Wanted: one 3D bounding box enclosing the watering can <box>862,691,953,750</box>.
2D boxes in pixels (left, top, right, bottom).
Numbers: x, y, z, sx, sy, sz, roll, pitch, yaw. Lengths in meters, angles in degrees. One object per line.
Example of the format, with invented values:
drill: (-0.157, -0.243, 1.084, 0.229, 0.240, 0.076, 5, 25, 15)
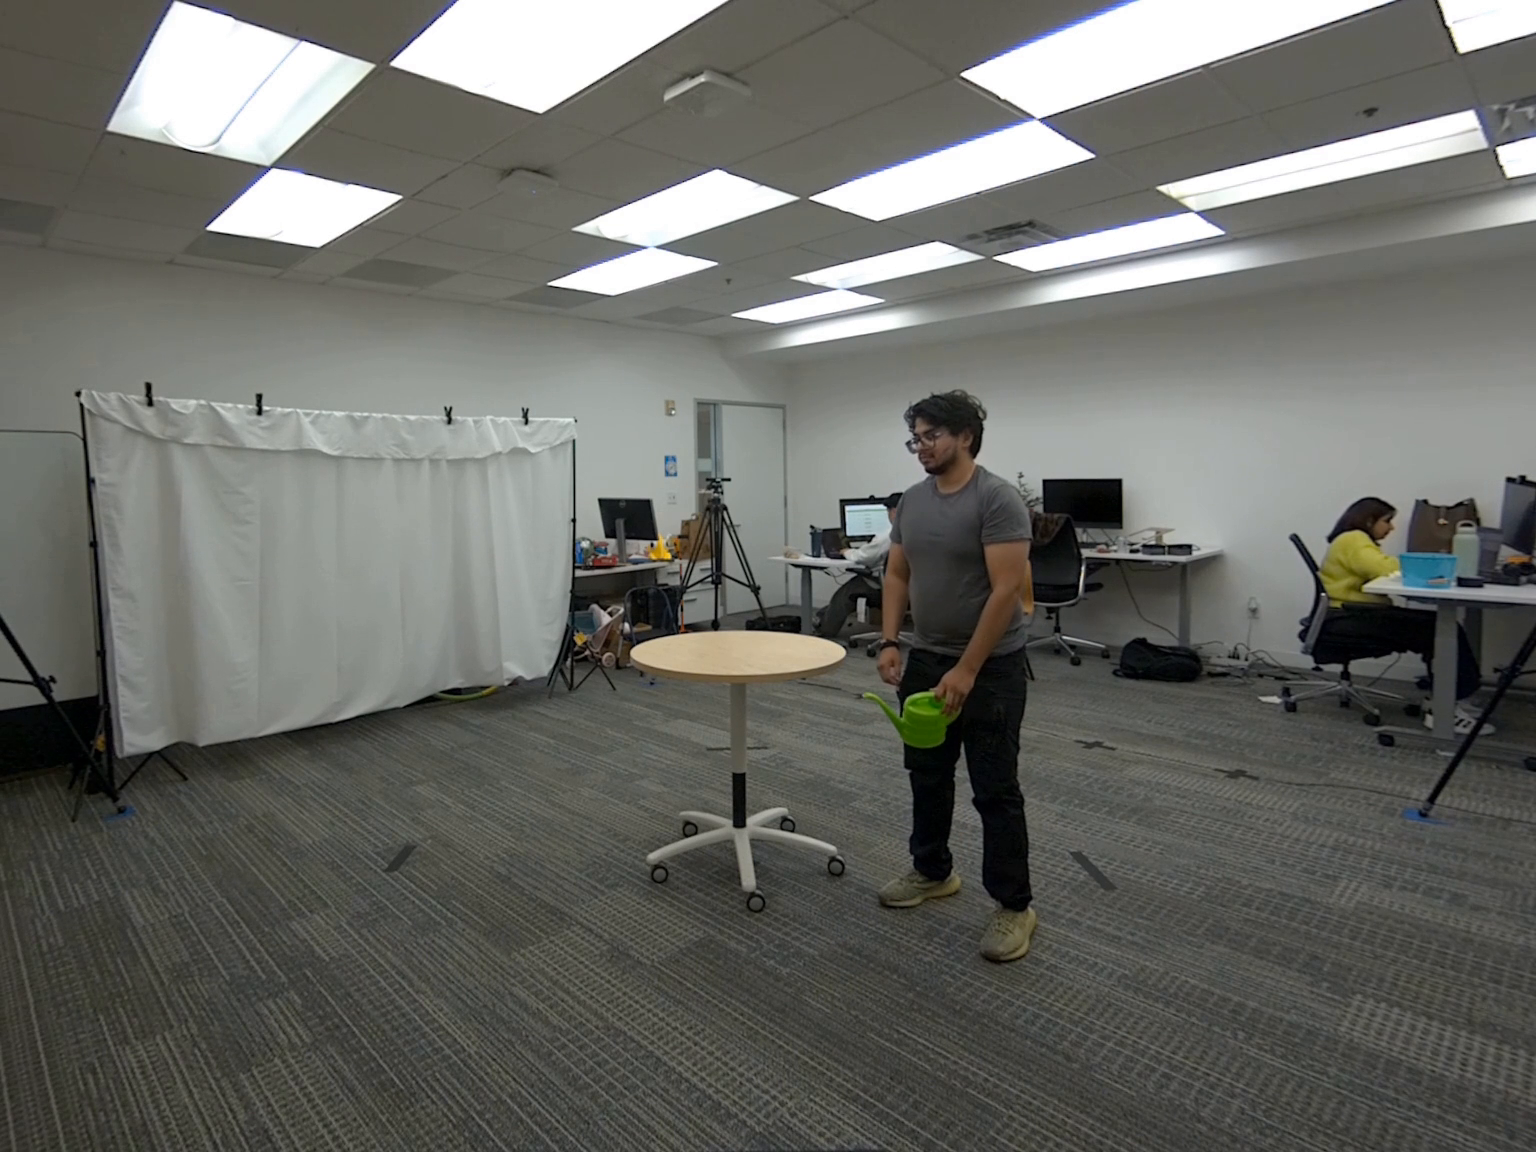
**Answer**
watering can: (0.416, 0.389, 2.457, 0.281, 0.172, 0.099, 8, 35, 8)
